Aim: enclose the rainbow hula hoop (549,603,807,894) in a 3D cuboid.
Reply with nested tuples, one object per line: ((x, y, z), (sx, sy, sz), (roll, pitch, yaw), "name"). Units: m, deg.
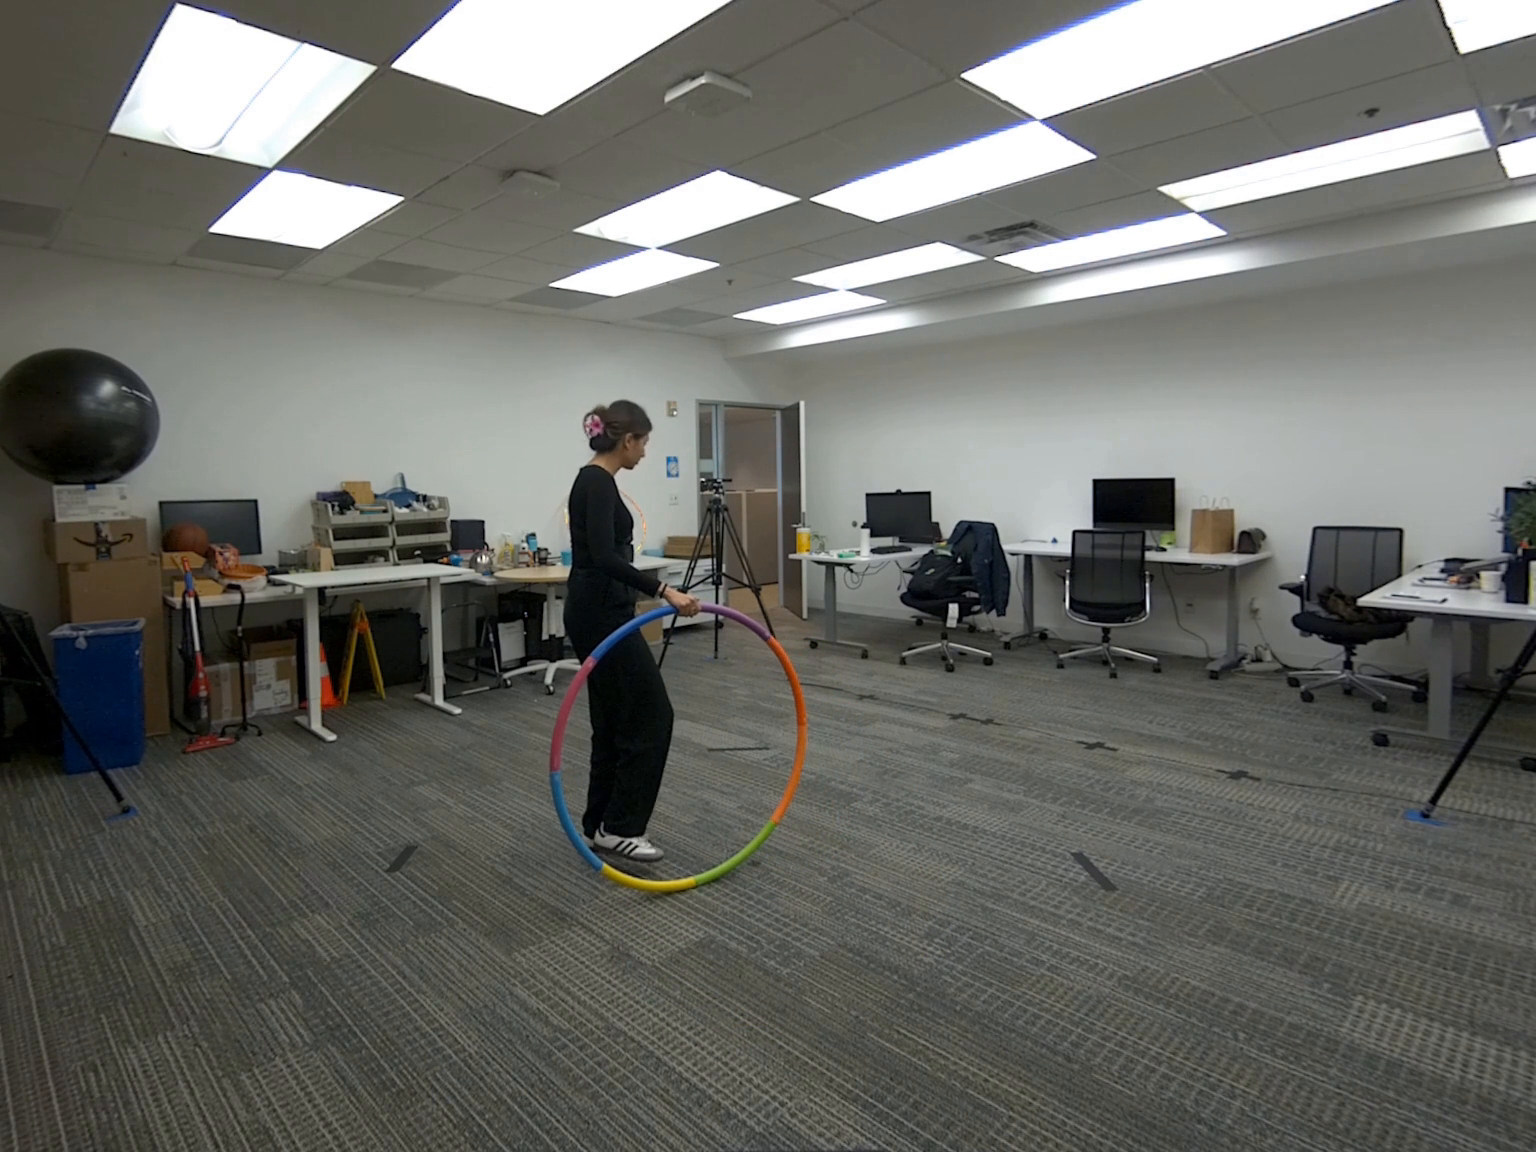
((-0.274, 0.577, 2.929), (0.955, 0.977, 0.036), (-4, 2, -32), "rainbow hula hoop")
